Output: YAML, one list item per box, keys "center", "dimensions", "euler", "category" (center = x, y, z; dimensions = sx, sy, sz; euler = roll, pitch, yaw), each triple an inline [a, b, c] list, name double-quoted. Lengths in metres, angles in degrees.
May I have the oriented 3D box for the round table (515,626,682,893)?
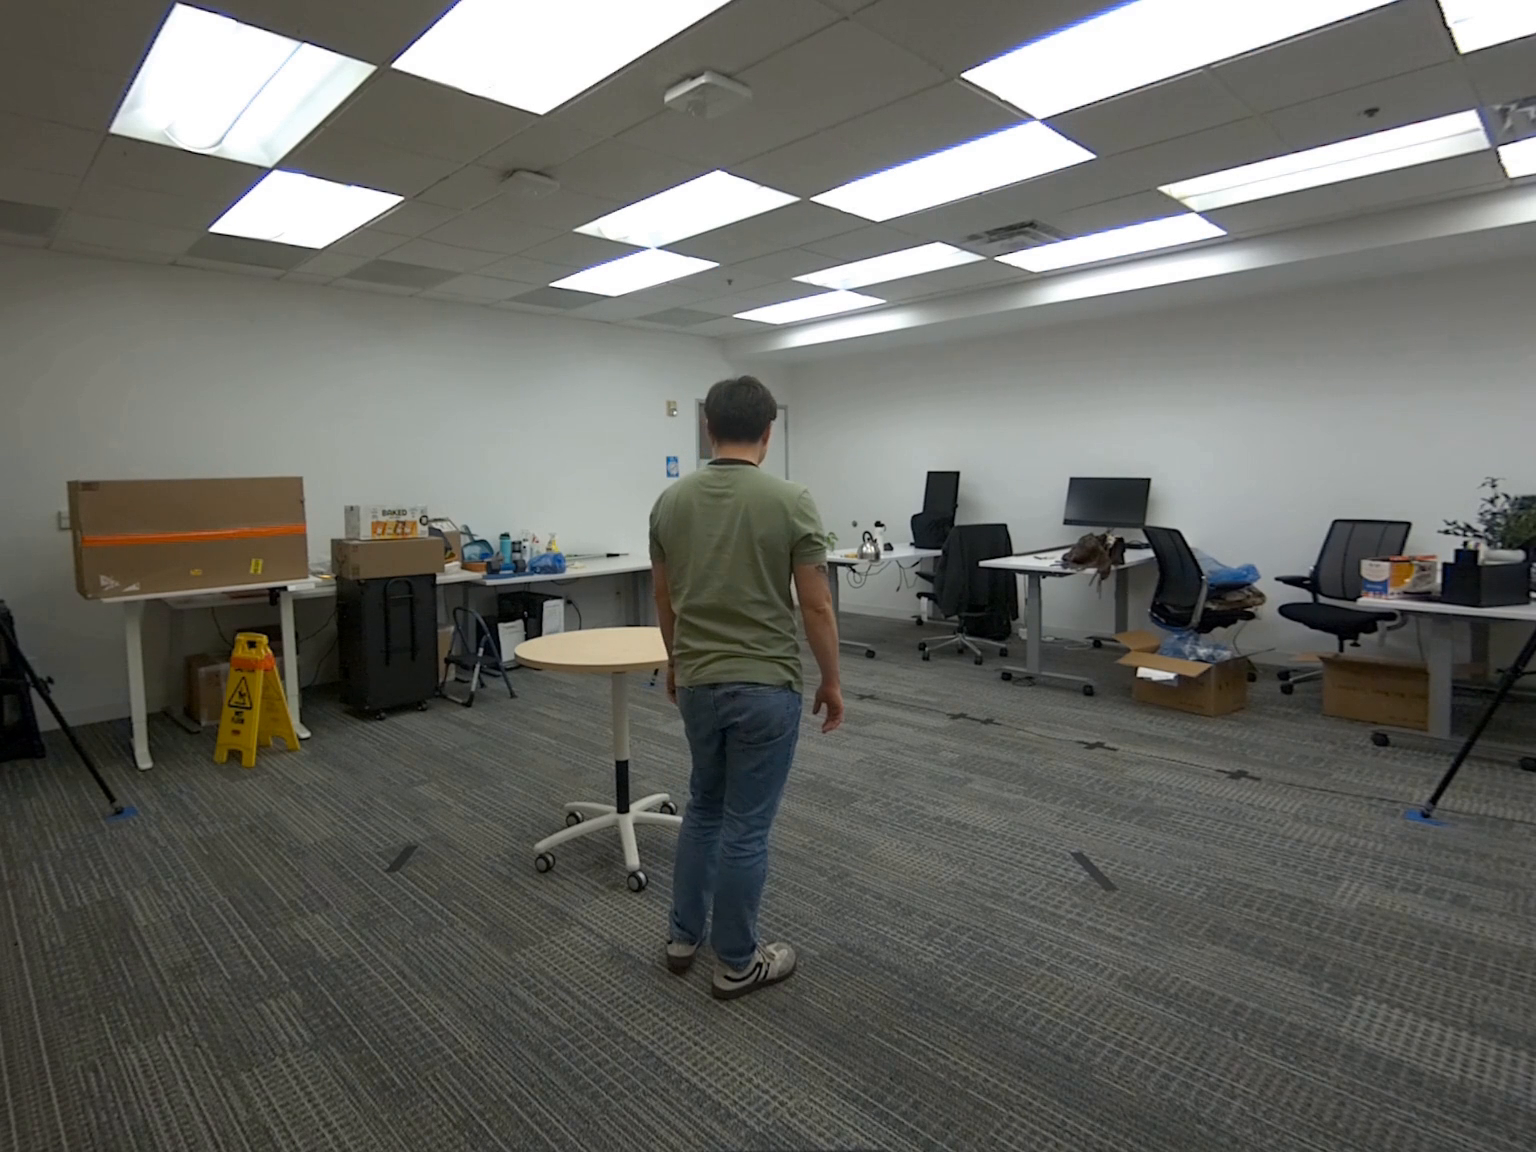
- center: [-0.554, 0.650, 3.239]
  dimensions: [0.763, 0.791, 0.767]
  euler: [-2, 4, -2]
  category: "round table"
